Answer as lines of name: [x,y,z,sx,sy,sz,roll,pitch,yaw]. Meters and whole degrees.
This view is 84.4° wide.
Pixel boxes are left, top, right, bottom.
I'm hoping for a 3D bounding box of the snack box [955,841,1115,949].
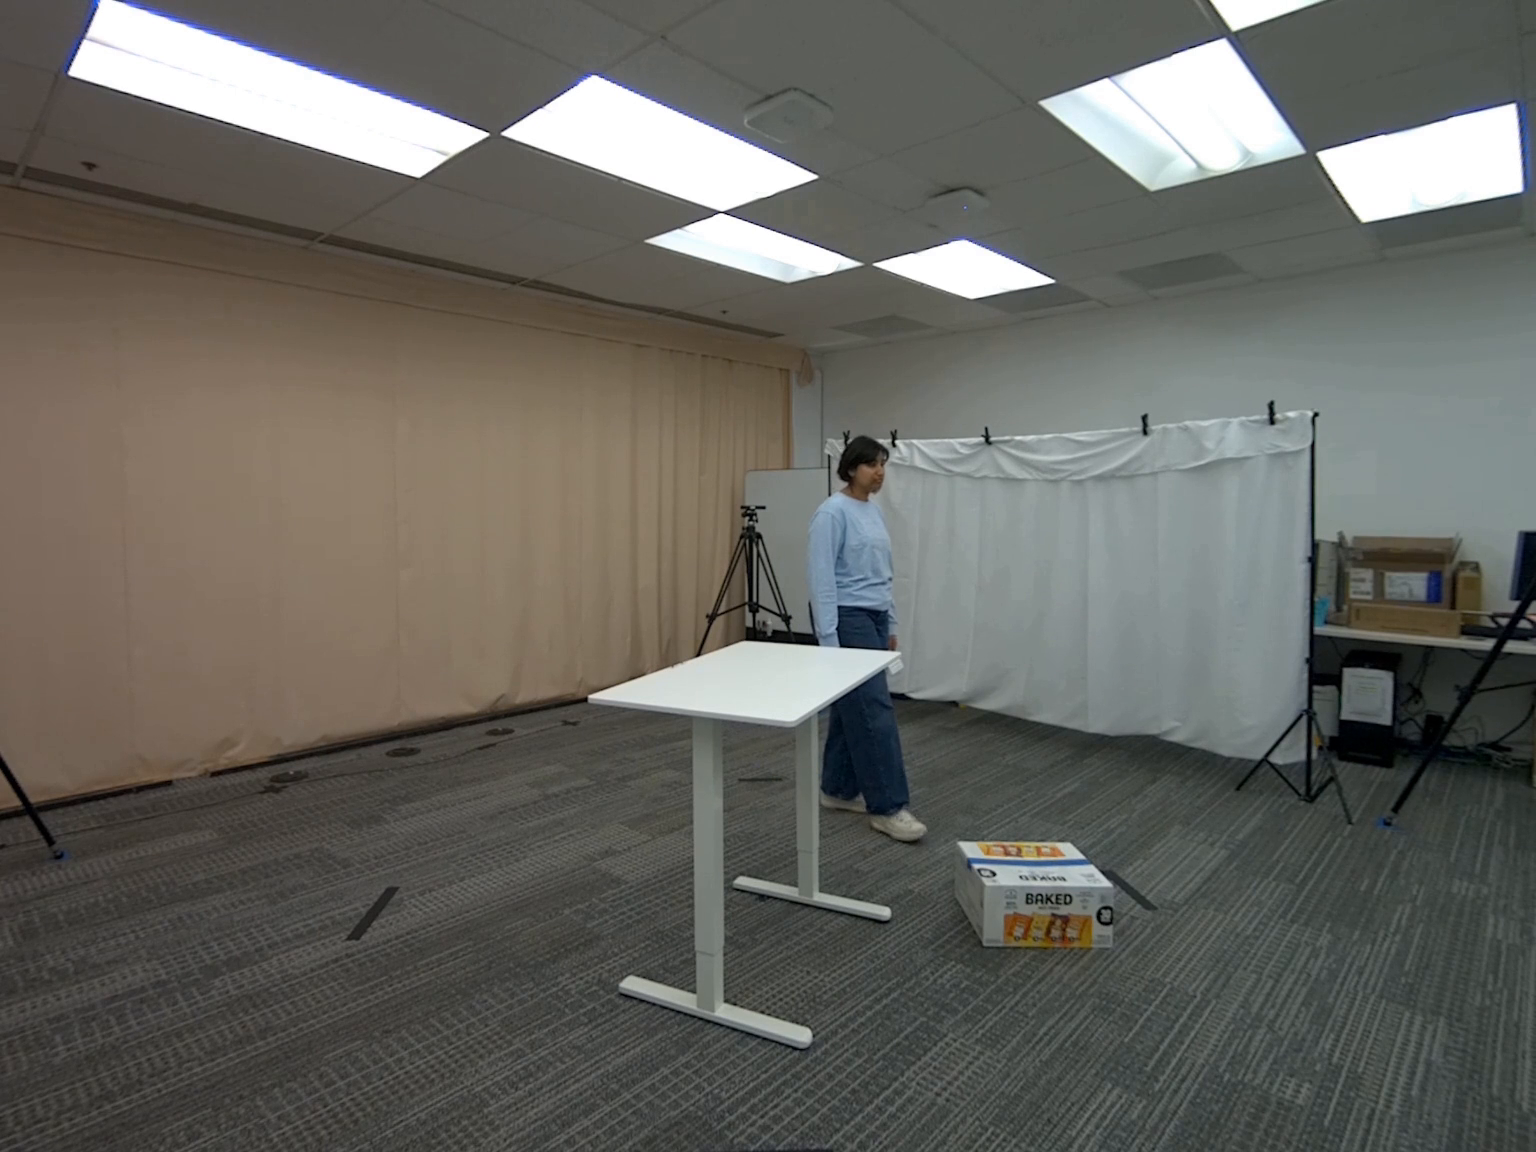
snack box: [0.869,1.048,2.806,0.405,0.205,0.341,0,4,-1]
